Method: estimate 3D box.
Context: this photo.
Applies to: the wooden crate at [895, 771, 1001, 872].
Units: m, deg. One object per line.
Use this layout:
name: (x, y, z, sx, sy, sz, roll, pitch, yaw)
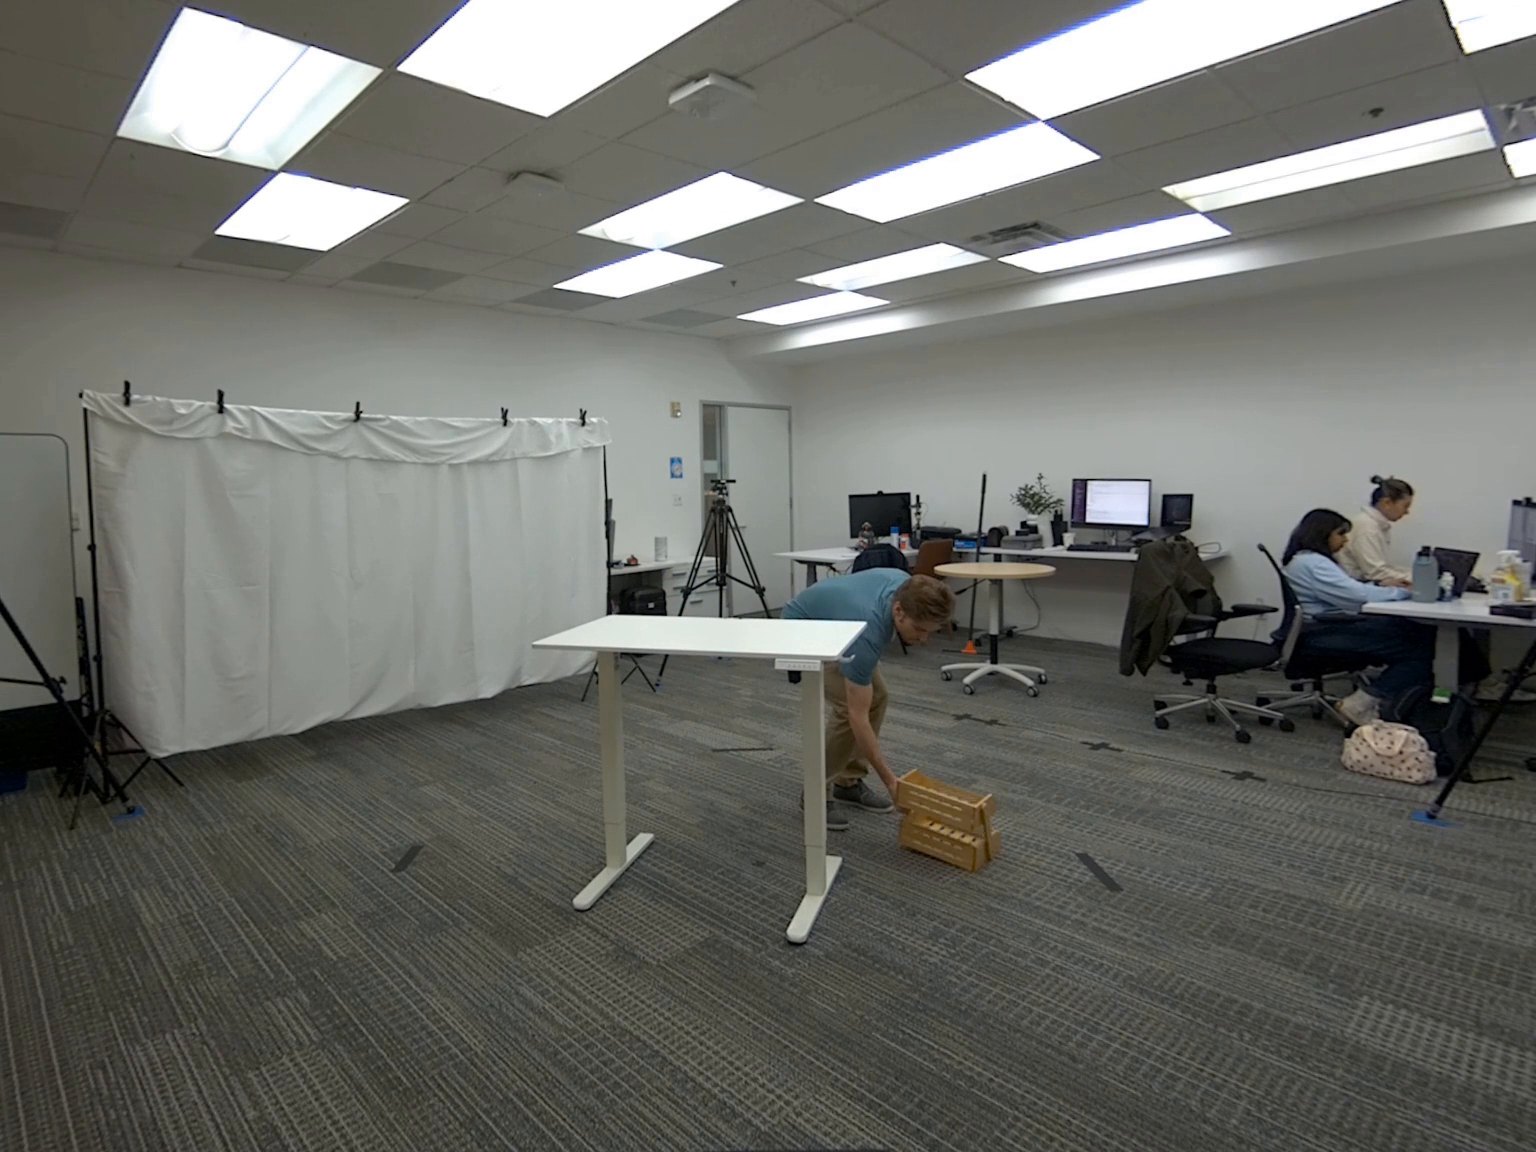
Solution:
wooden crate: (0.682, 0.880, 3.162, 0.335, 0.271, 0.294, 10, 11, 37)
